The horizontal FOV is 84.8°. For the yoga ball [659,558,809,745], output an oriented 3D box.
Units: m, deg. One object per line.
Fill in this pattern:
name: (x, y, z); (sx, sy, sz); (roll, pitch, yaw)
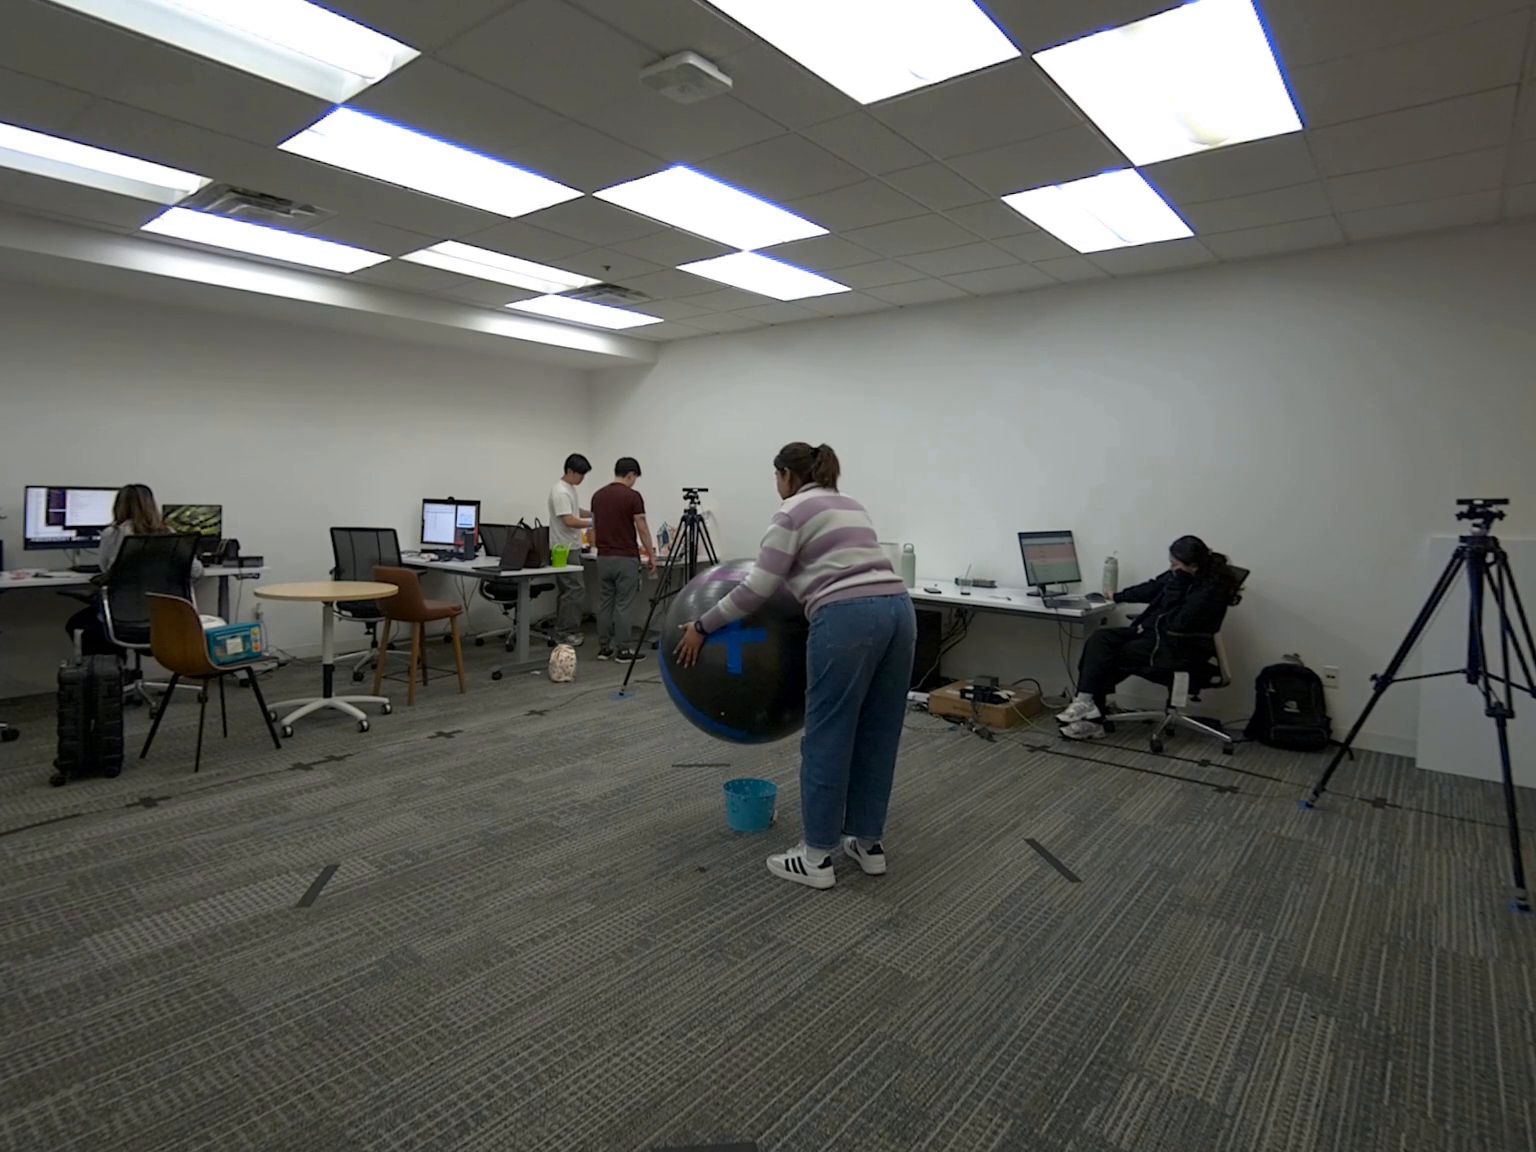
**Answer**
yoga ball: (-0.091, 0.308, 3.519); (0.757, 0.756, 0.761); (1, 4, -2)
